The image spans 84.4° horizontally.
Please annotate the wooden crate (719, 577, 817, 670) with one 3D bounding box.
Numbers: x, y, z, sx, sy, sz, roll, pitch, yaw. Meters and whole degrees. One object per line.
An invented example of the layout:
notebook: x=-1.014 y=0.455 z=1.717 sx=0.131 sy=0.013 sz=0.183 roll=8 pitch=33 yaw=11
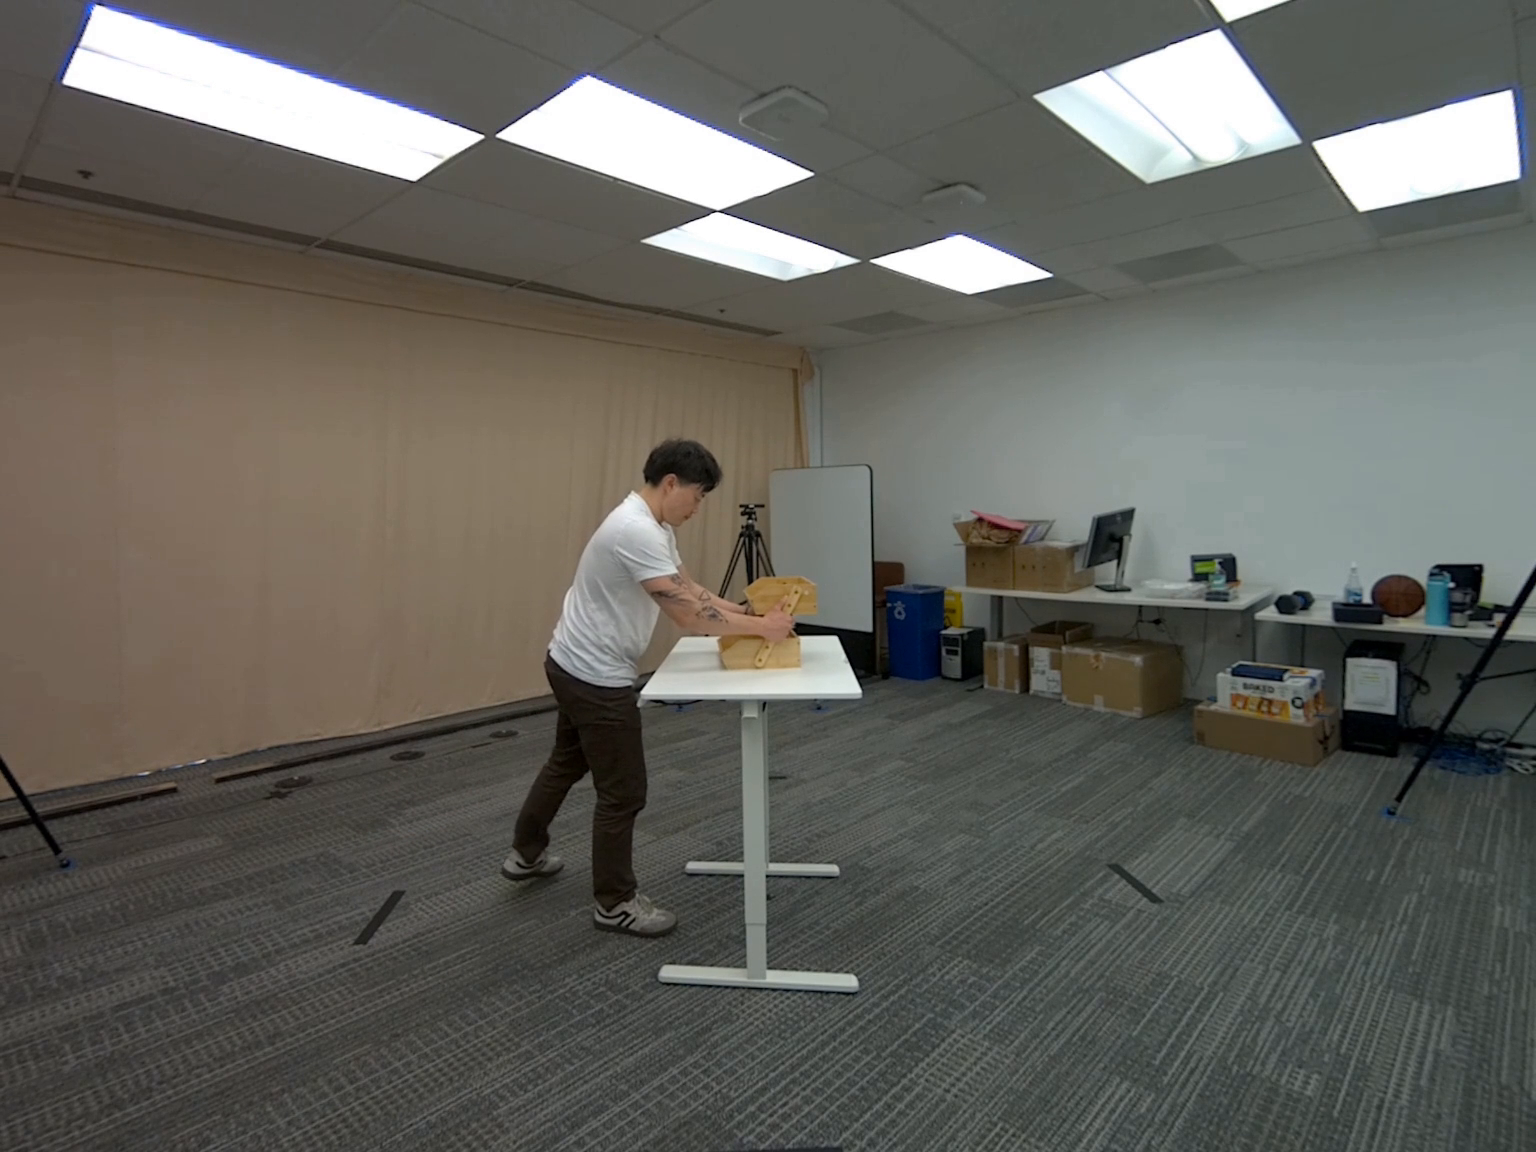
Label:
wooden crate: x=-0.019 y=0.148 z=2.754 sx=0.301 sy=0.272 sz=0.326 roll=0 pitch=4 yaw=-4
